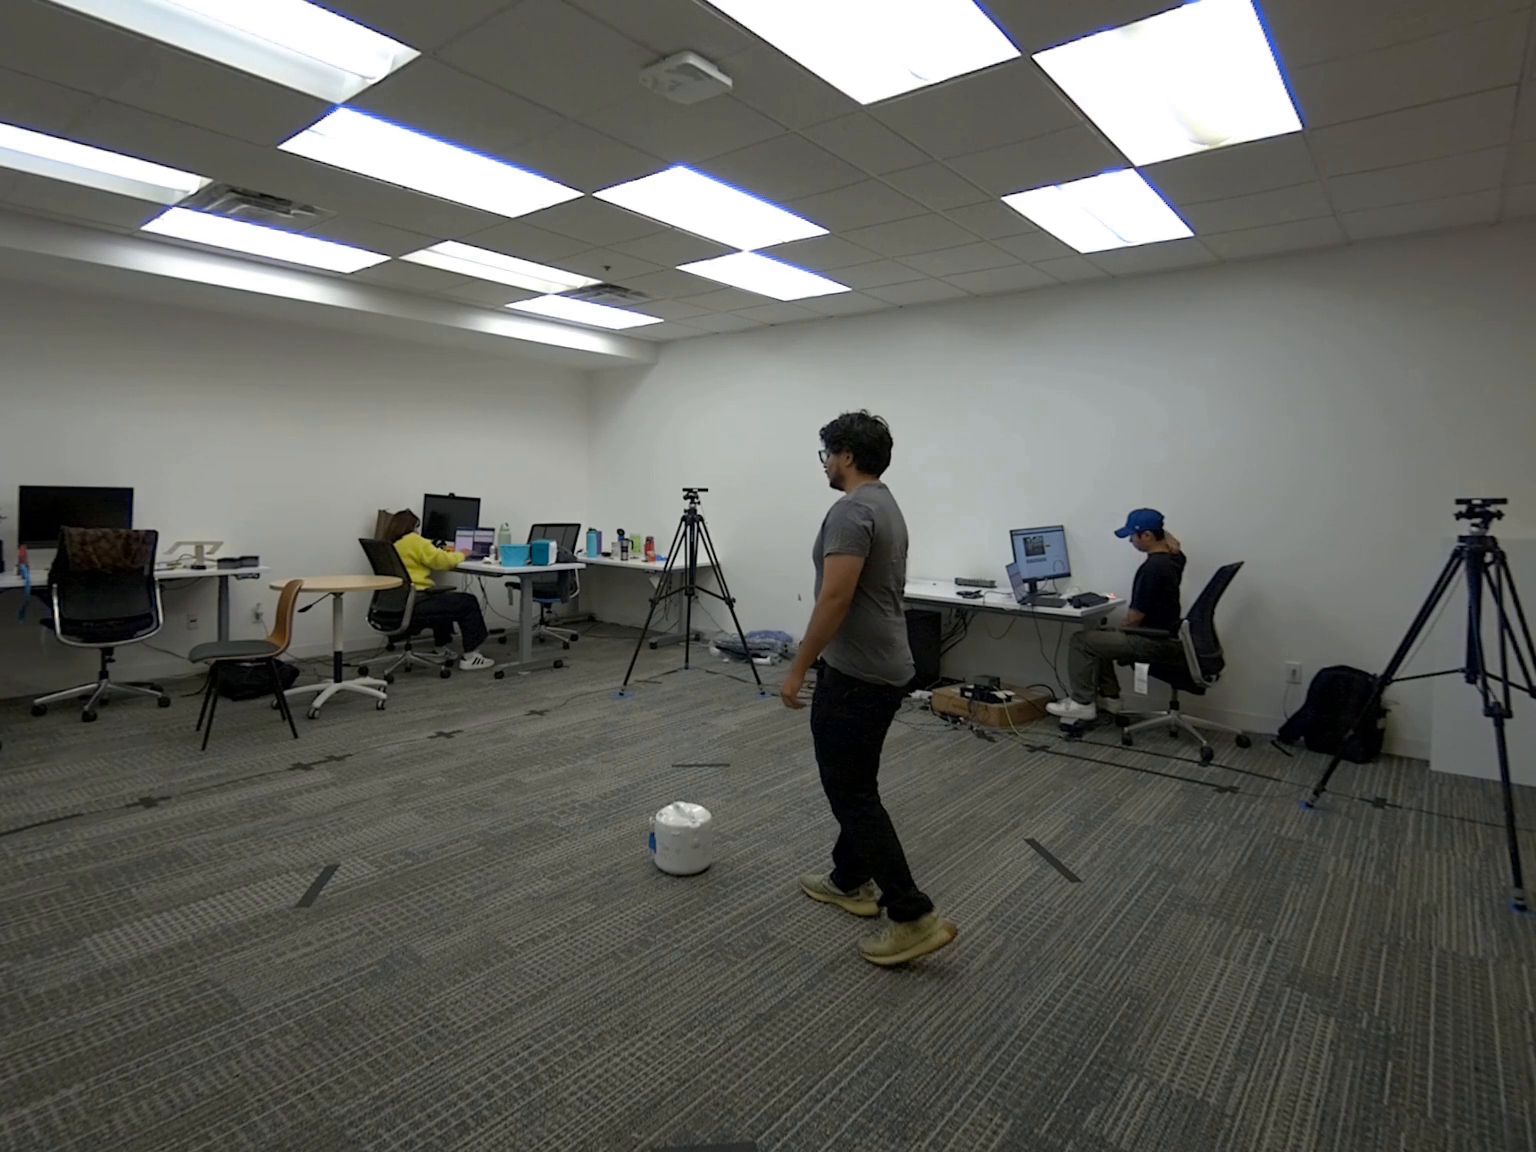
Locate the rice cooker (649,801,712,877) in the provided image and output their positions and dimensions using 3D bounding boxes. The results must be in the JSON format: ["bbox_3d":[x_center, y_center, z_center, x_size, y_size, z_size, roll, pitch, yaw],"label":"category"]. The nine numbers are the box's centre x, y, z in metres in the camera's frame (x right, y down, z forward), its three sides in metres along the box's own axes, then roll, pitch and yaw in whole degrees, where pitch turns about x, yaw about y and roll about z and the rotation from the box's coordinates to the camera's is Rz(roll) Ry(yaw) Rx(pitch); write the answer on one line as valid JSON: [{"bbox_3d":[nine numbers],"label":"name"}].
[{"bbox_3d":[-0.320,0.945,3.127,0.212,0.232,0.227,-1,5,-28],"label":"rice cooker"}]
